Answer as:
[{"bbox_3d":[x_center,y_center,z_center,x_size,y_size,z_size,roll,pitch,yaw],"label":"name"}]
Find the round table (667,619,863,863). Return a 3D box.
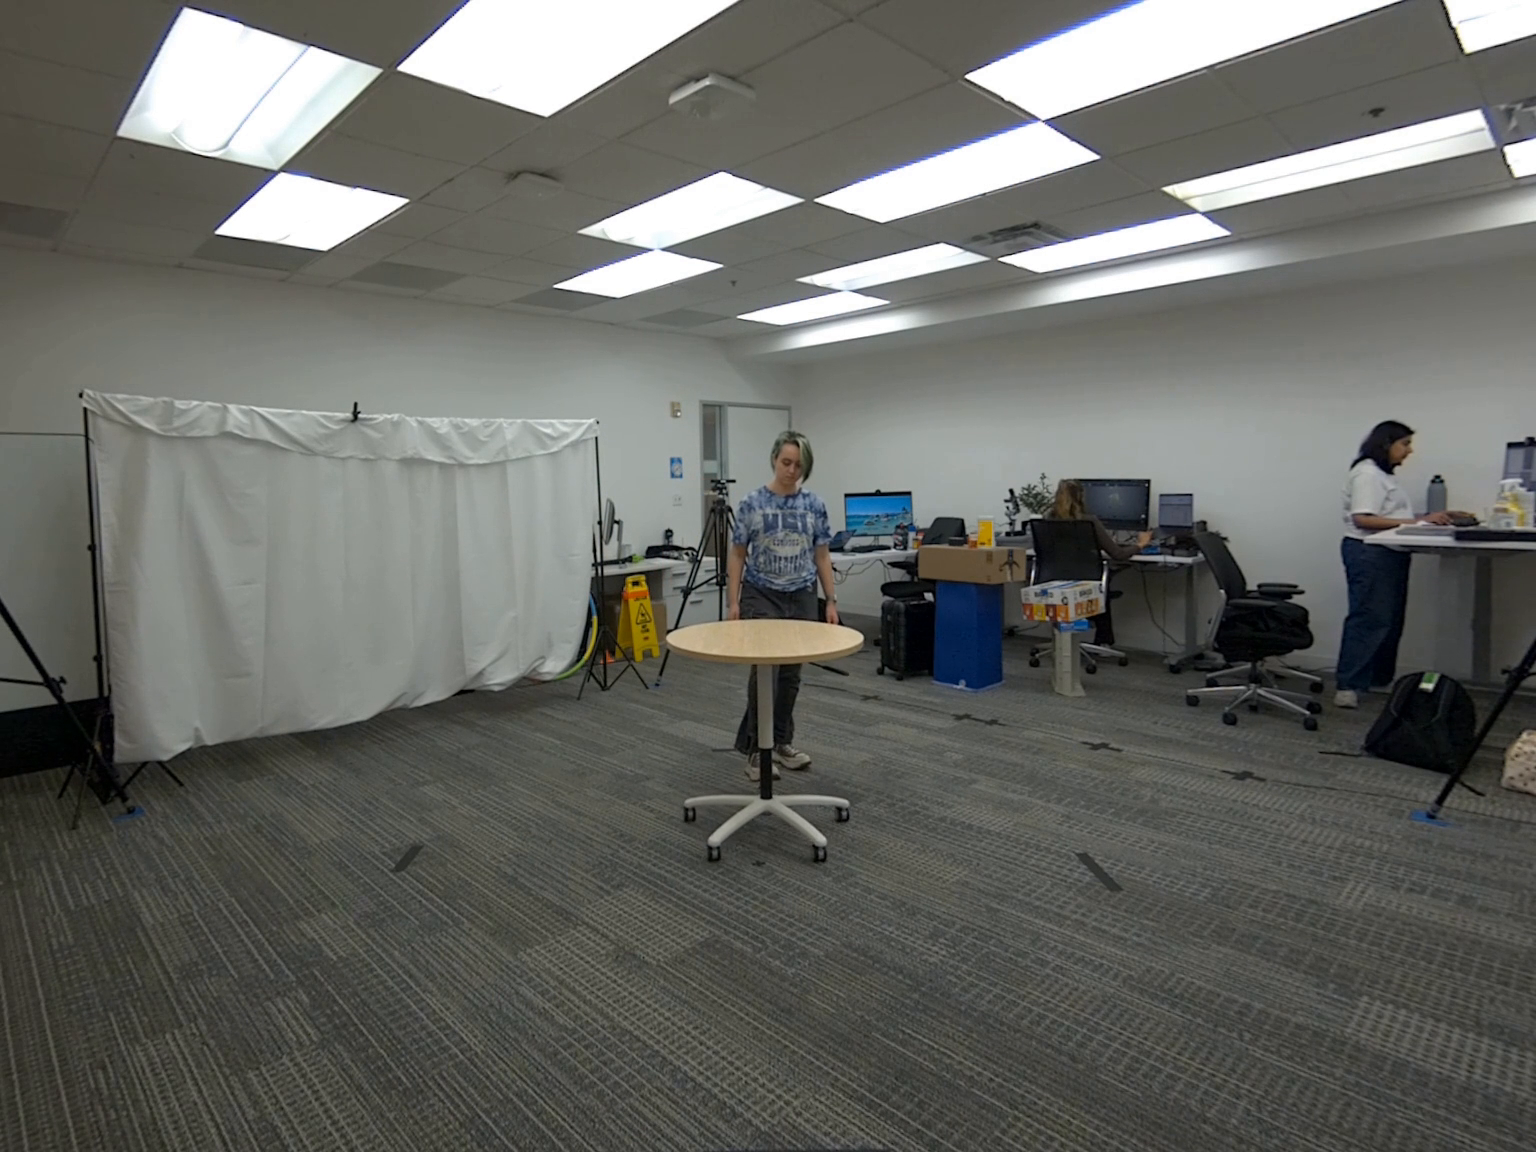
[{"bbox_3d":[-0.012,0.631,3.354,0.763,0.791,0.768,-1,4,-2],"label":"round table"}]
